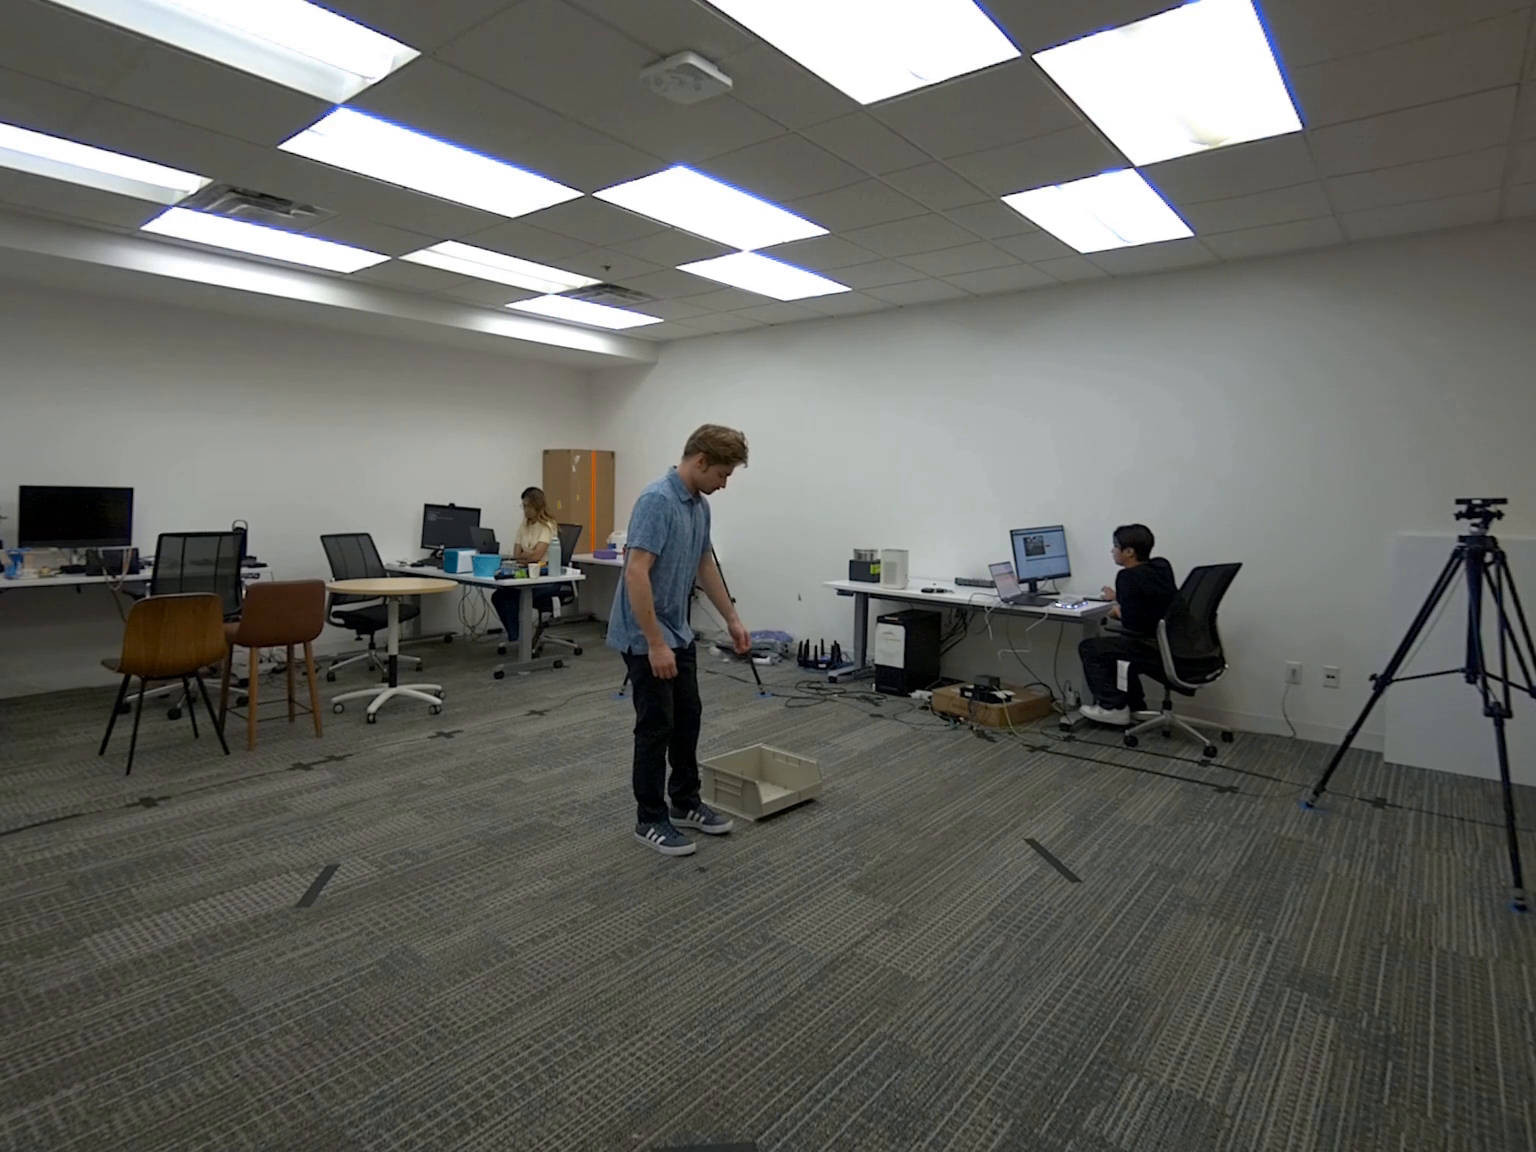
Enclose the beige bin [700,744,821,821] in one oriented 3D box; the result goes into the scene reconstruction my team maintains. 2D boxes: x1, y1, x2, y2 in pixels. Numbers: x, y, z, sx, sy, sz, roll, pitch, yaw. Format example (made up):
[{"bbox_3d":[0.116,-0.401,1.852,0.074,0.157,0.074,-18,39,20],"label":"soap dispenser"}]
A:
[{"bbox_3d":[-0.038,0.917,3.802,0.390,0.188,0.410,4,7,42],"label":"beige bin"}]
